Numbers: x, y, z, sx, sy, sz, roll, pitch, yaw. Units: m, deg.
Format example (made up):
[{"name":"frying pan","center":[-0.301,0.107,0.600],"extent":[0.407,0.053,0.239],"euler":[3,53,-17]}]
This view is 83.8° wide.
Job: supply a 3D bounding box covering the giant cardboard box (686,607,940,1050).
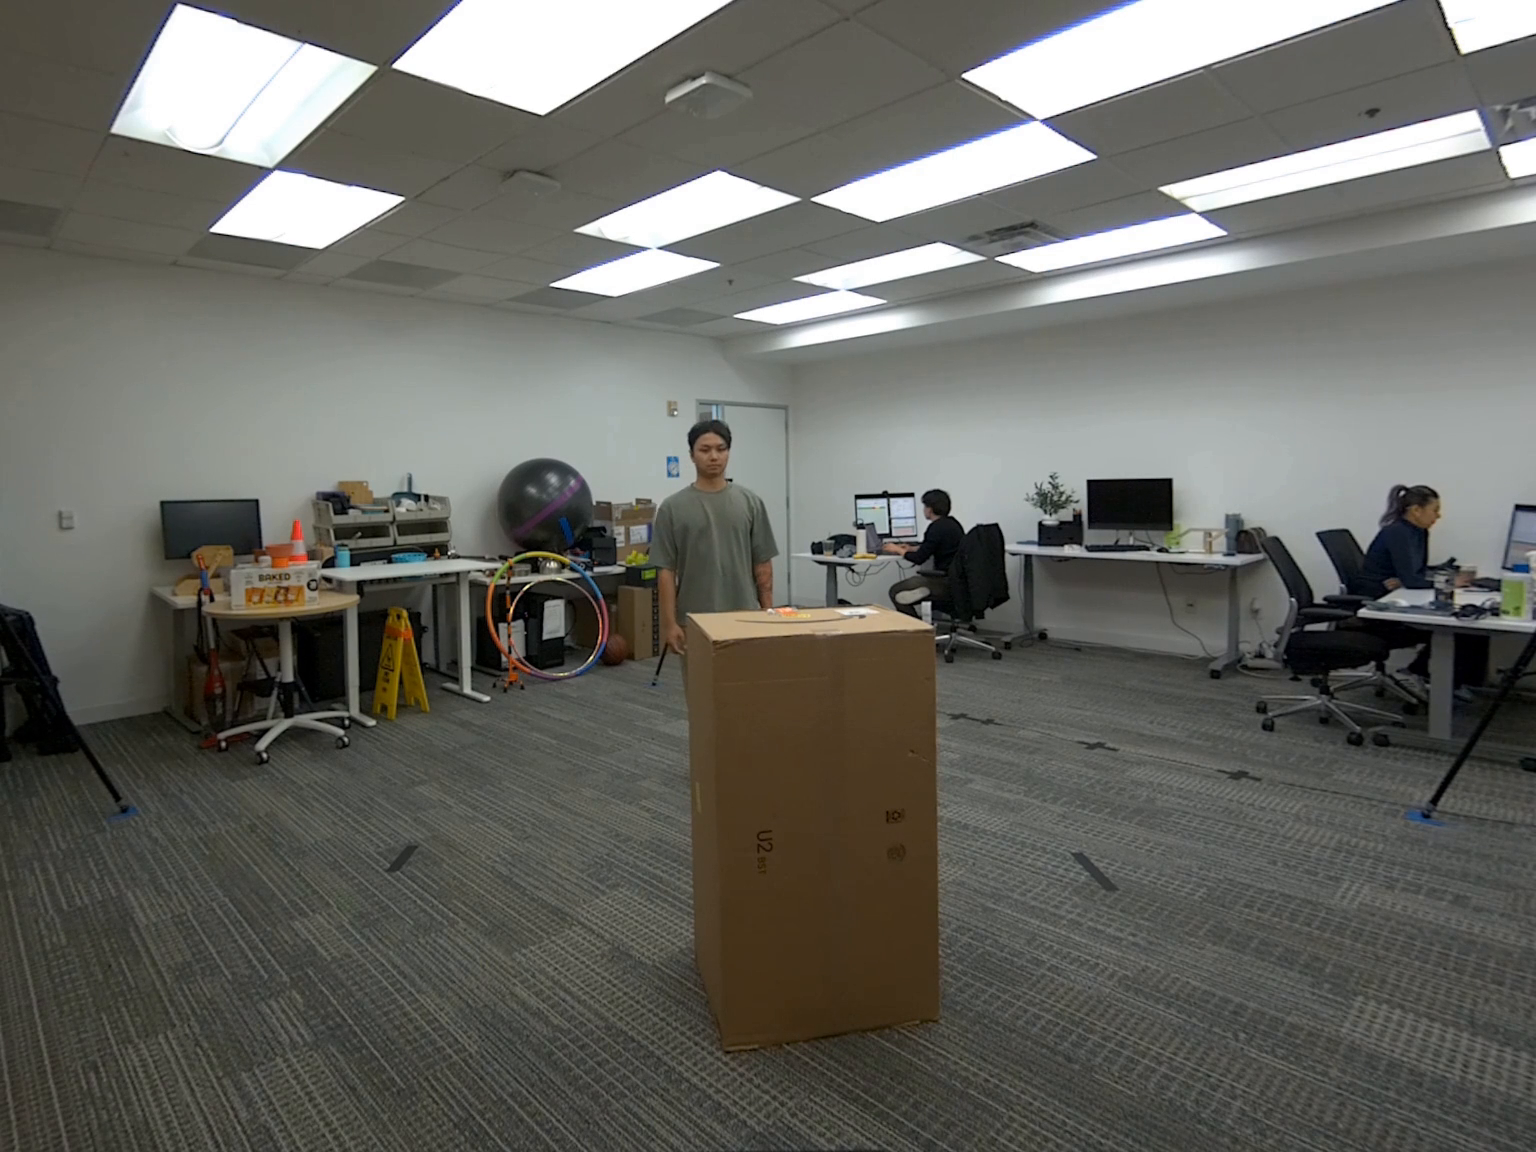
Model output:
[{"name":"giant cardboard box","center":[0.111,0.632,2.306],"extent":[0.571,1.020,0.433],"euler":[-2,6,-13]}]
